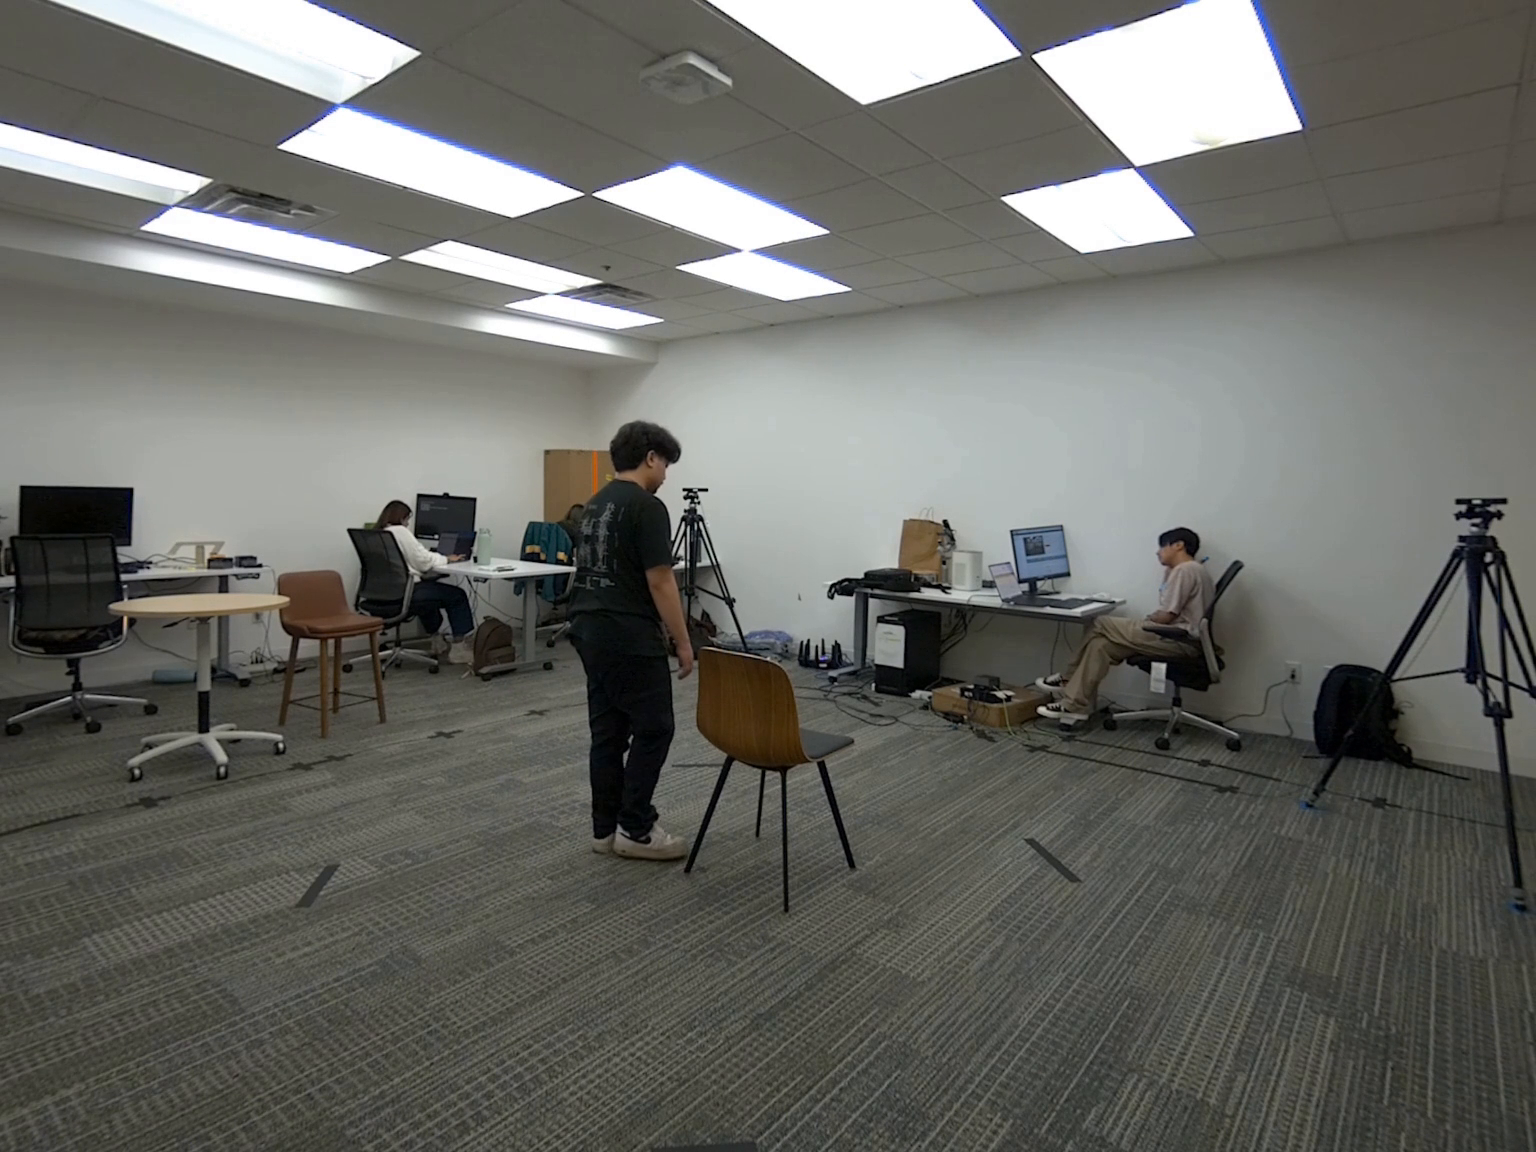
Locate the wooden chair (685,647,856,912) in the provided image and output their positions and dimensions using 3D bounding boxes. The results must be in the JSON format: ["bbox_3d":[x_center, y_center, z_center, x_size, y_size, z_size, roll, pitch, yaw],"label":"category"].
[{"bbox_3d":[0.014,0.647,3.088,0.494,0.872,0.509,3,8,38],"label":"wooden chair"}]
